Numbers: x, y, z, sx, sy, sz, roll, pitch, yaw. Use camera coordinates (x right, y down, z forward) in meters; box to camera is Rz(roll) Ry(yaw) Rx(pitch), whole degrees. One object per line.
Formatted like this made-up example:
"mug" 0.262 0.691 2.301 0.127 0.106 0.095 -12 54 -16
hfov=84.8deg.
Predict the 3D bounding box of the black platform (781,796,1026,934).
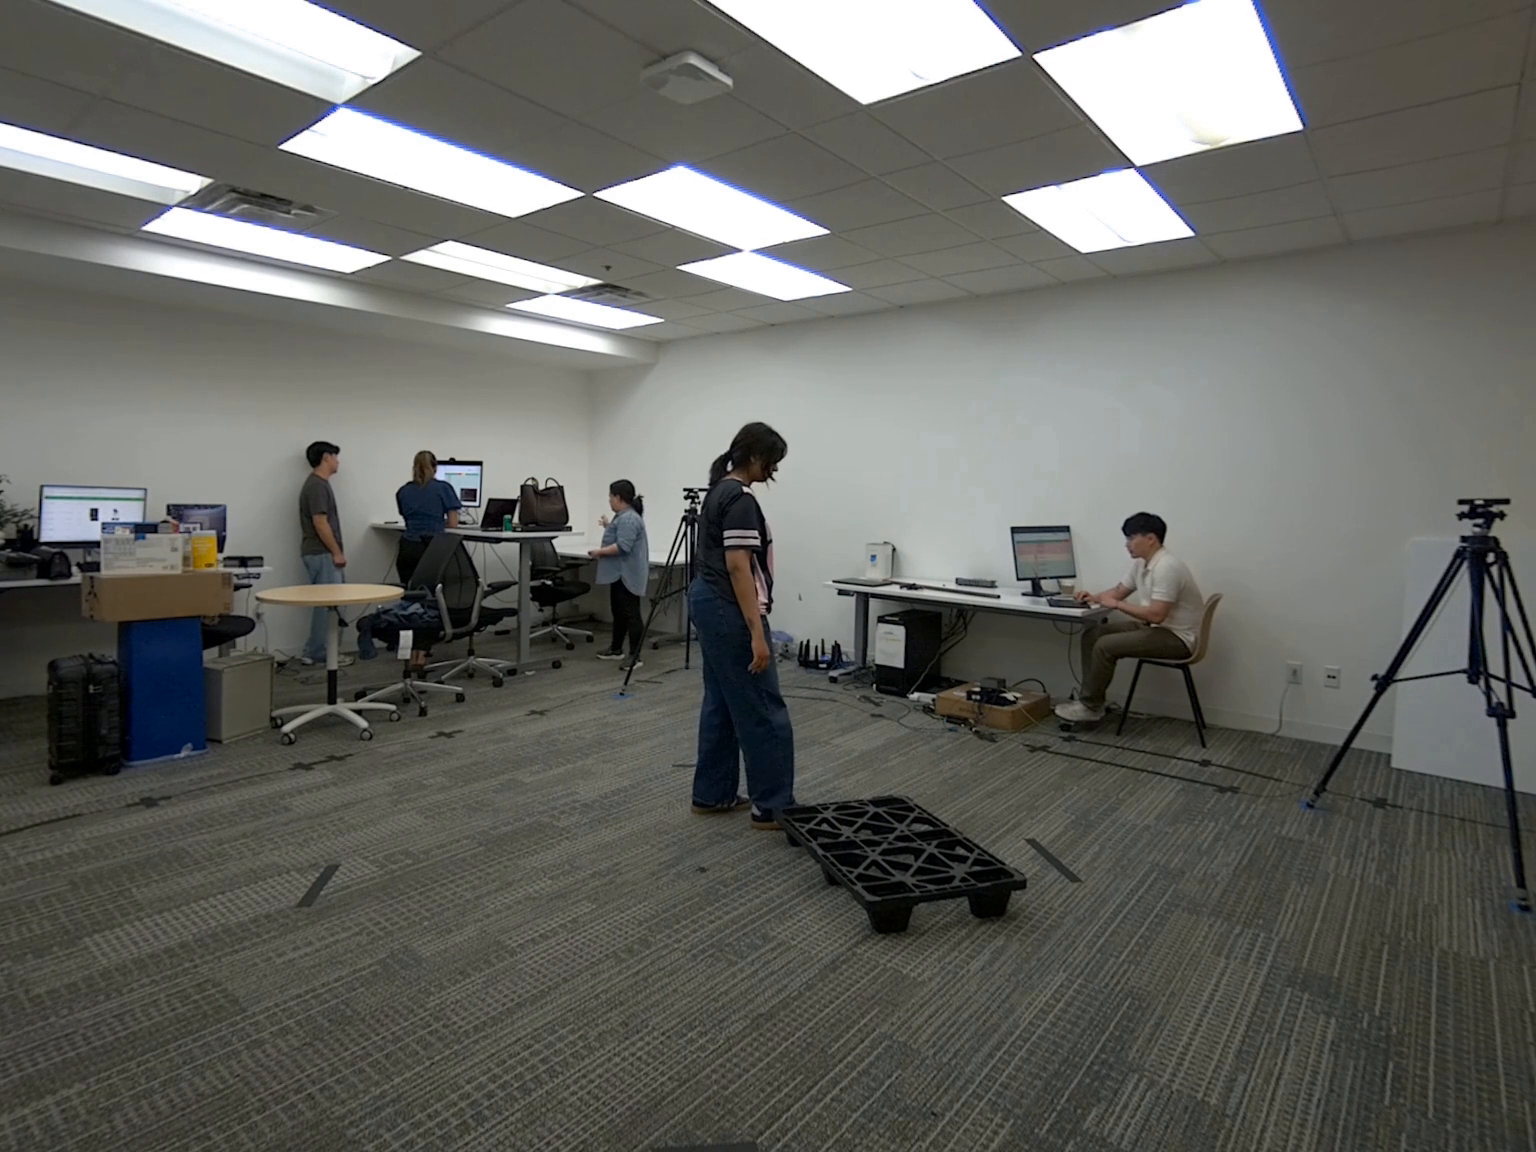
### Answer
"black platform" 0.428 1.018 3.085 0.593 0.143 0.825 -1 6 -20
